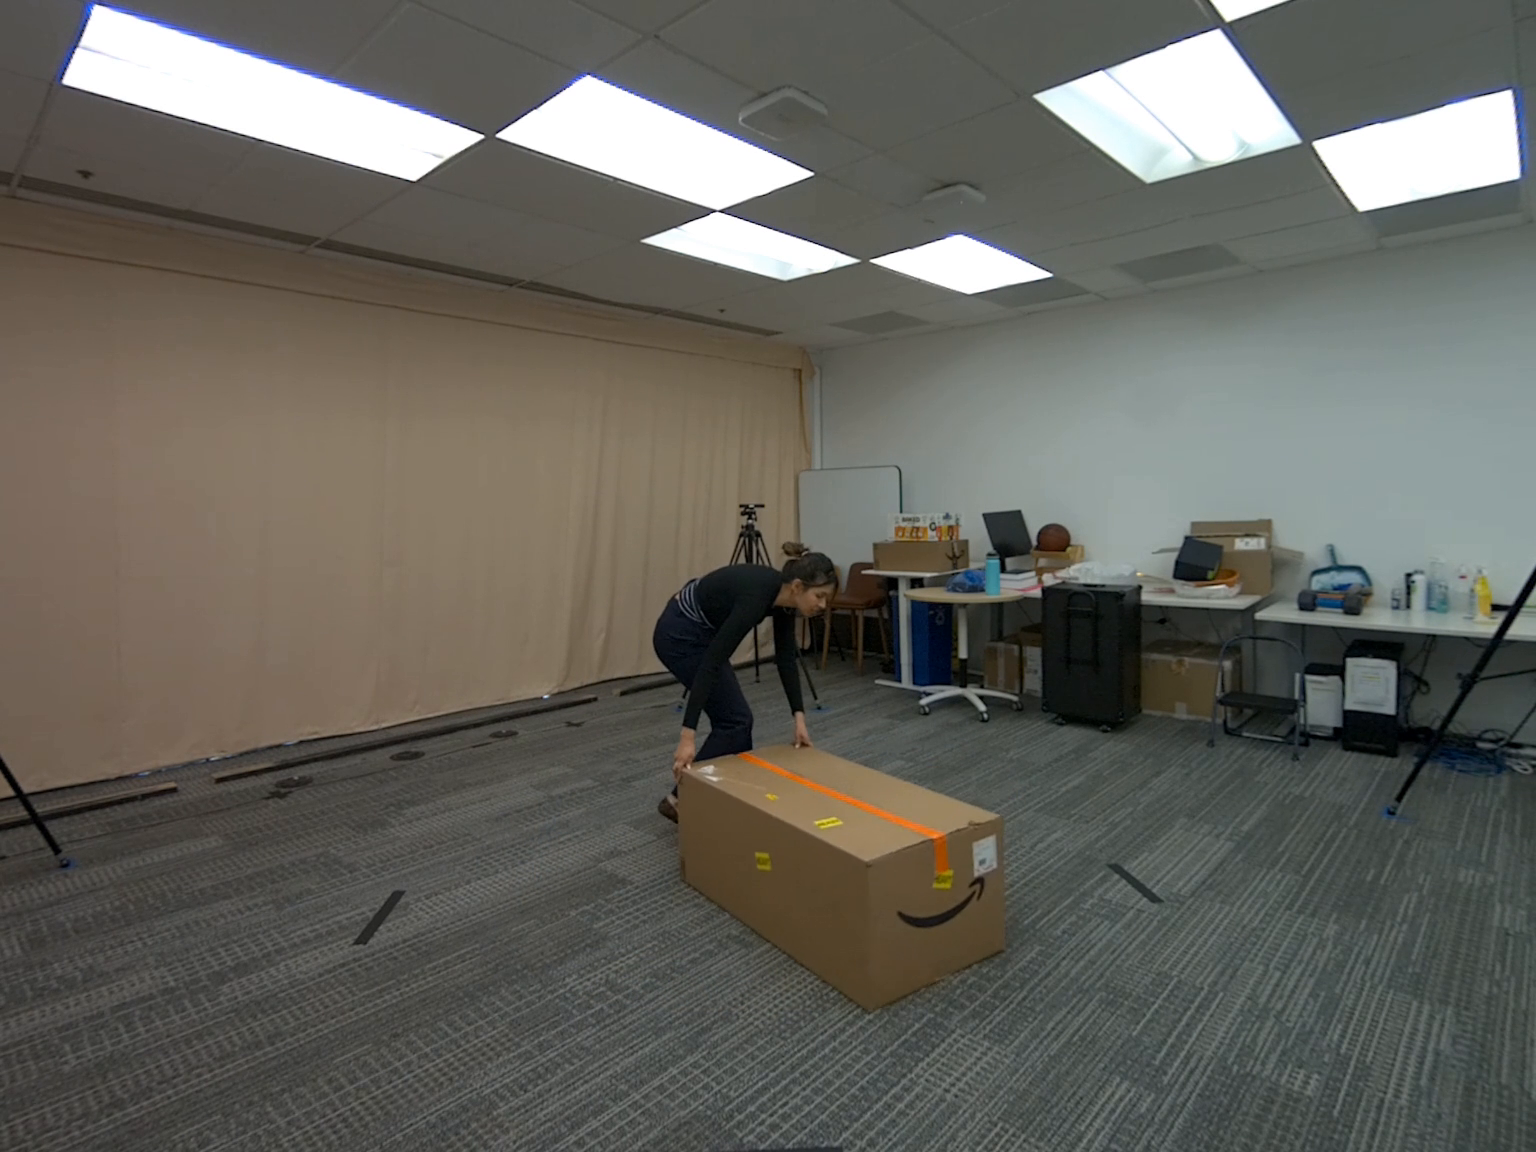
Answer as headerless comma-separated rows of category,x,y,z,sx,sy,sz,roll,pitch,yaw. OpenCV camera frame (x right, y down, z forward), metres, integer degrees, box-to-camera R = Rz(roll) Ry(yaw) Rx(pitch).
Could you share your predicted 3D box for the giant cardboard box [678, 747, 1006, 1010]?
giant cardboard box,0.202,0.930,2.866,0.561,0.425,1.058,-5,6,-35
